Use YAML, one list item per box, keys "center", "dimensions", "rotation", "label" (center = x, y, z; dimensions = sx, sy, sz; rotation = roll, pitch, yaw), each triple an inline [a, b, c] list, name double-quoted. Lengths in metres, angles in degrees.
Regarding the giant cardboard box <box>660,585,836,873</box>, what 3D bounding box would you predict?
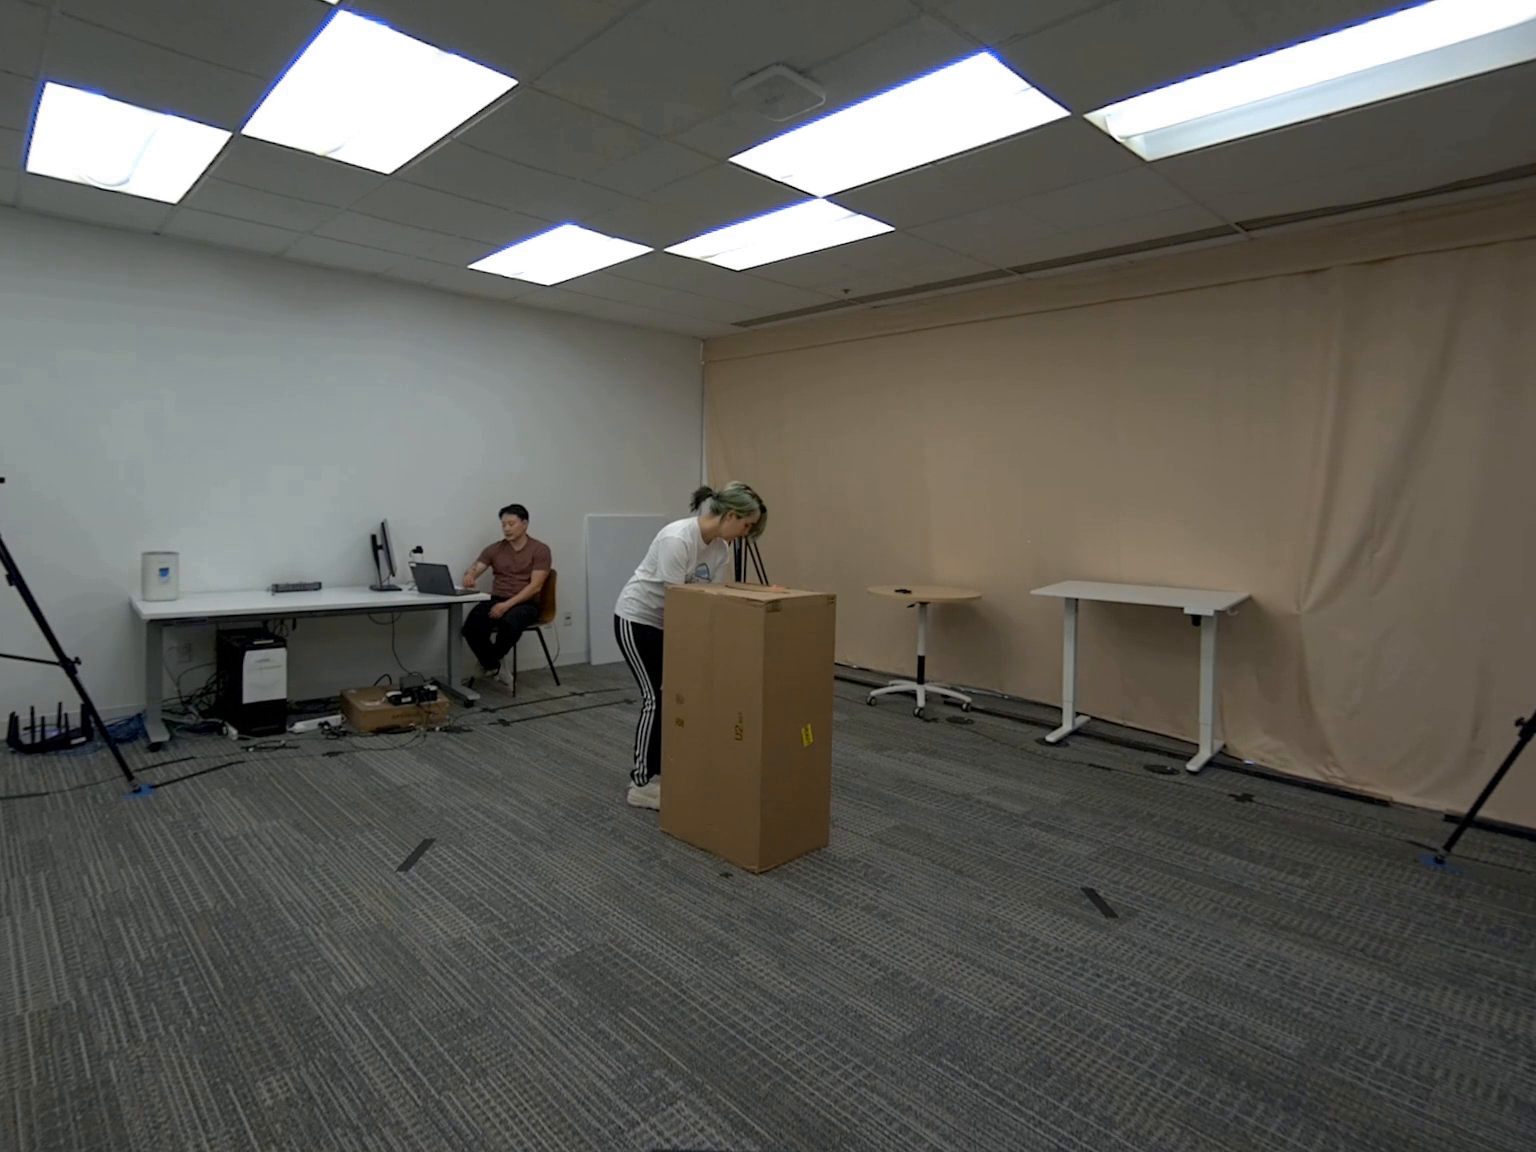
- center: [-0.094, 0.569, 3.438]
  dimensions: [0.599, 1.024, 0.437]
  rotation: [4, 5, 43]
  label: "giant cardboard box"
